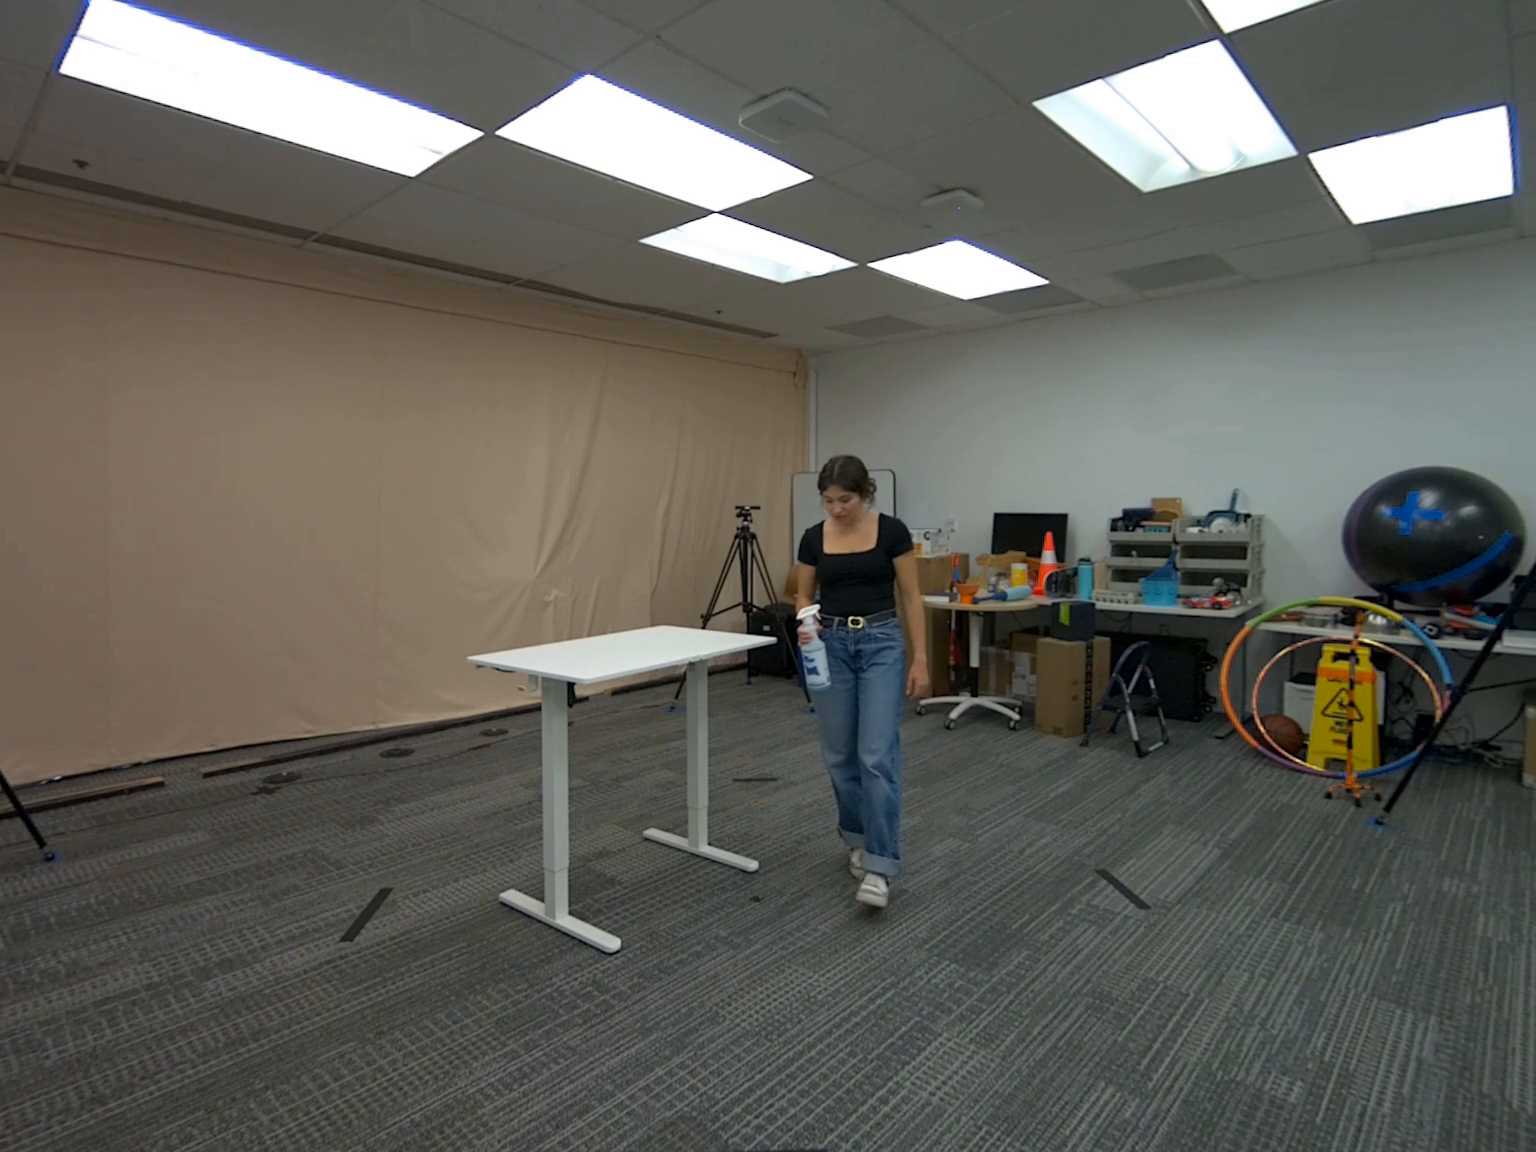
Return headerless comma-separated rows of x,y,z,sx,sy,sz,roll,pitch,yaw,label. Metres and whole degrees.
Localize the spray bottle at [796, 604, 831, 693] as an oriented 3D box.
0.161,0.257,2.988,0.090,0.295,0.087,-7,8,2,spray bottle
